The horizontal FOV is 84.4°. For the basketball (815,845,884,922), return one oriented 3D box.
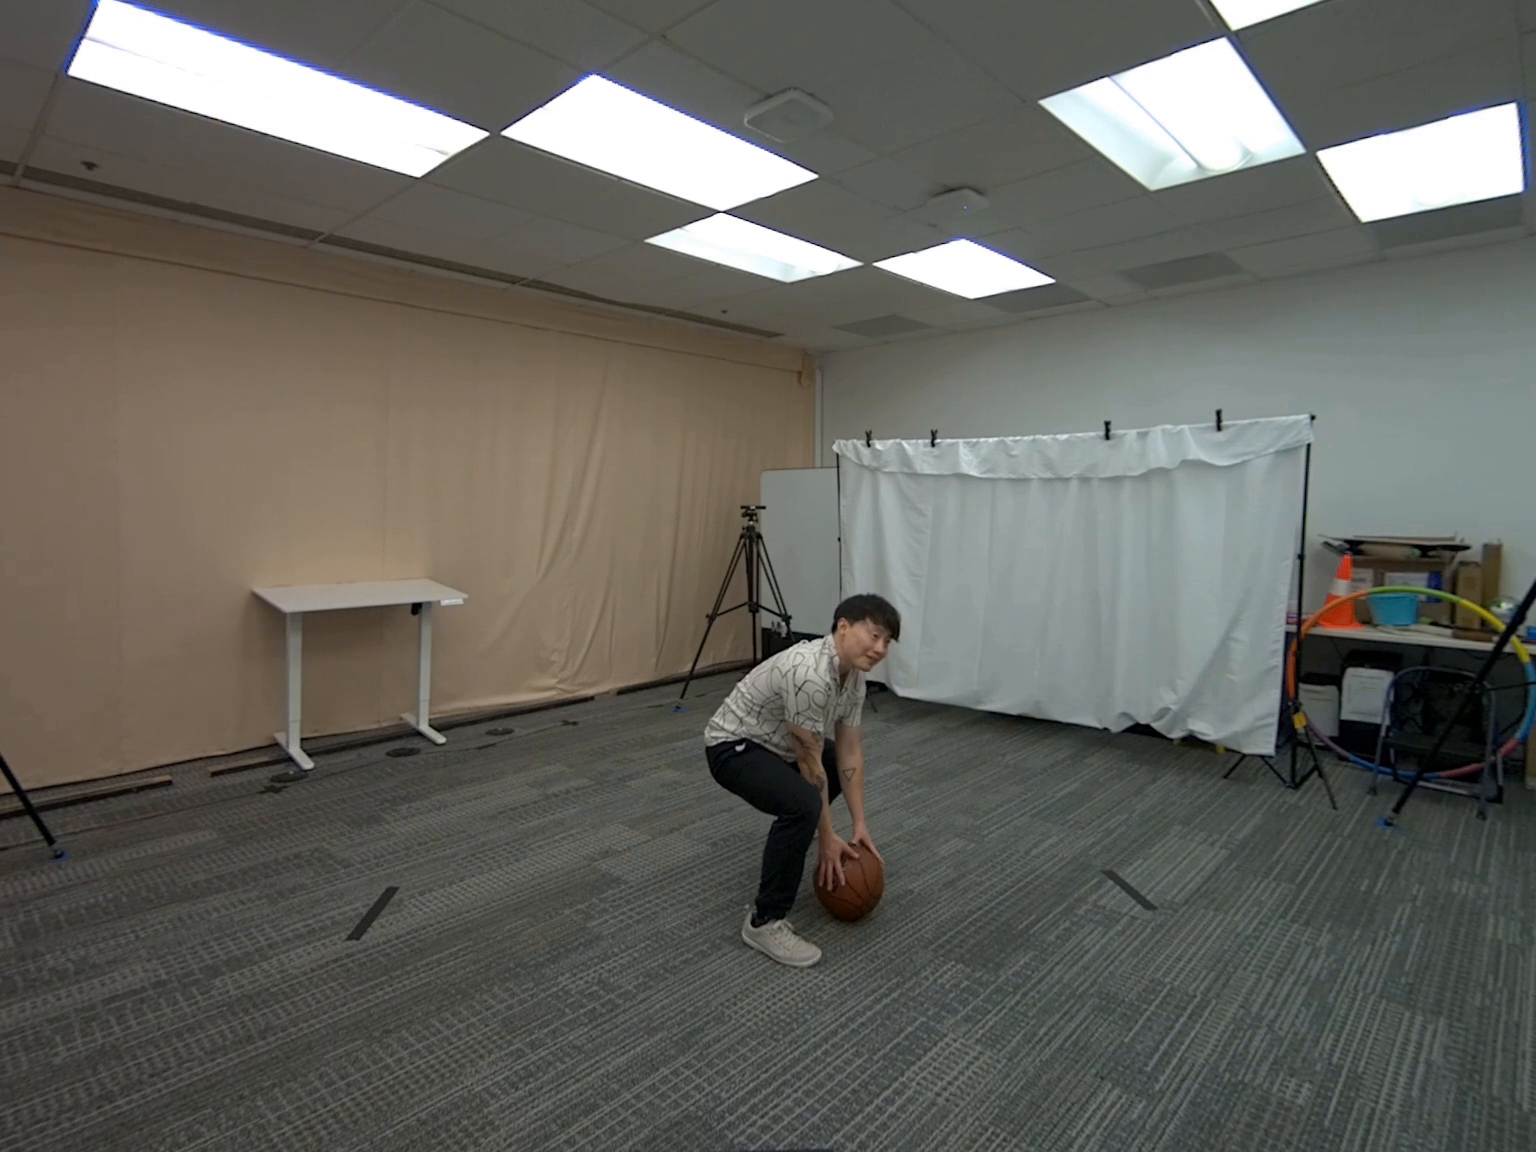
[{"bbox_3d":[0.276,1.026,2.859,0.236,0.235,0.237,0,4,-2],"label":"basketball"}]
